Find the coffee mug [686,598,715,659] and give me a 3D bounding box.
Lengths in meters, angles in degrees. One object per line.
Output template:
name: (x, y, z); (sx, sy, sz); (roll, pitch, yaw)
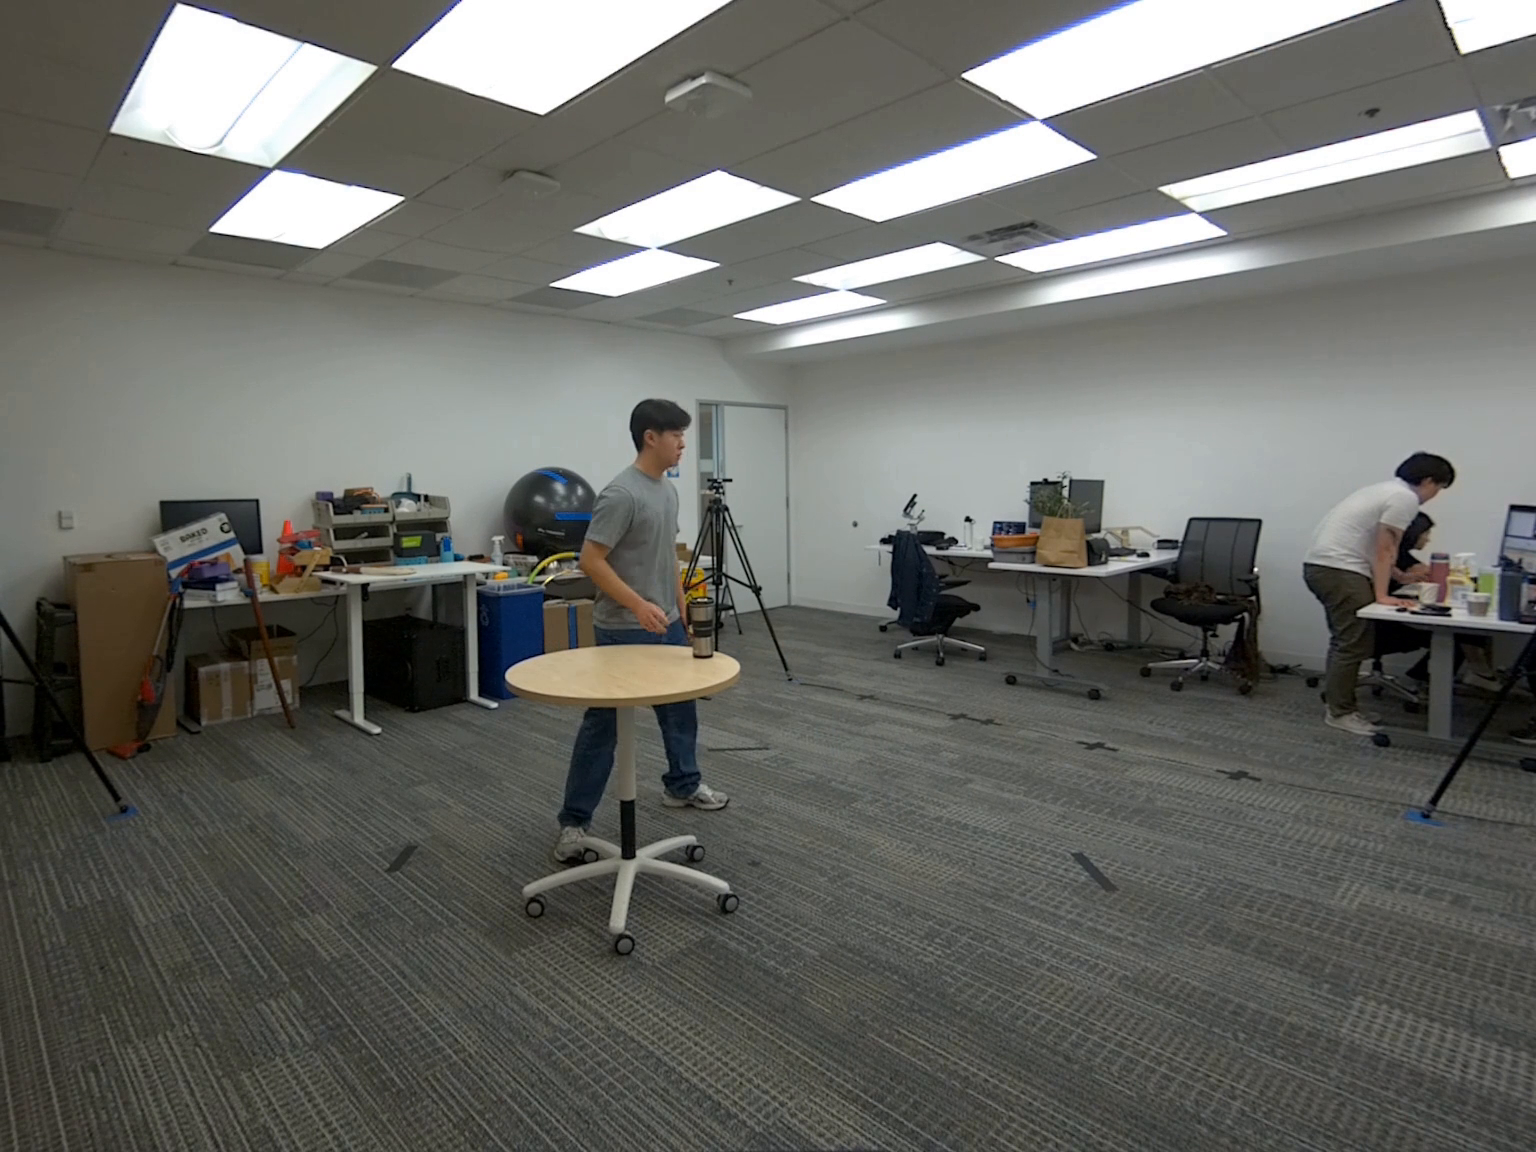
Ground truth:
coffee mug: (-0.231, 0.181, 2.985); (0.086, 0.201, 0.125); (-5, 8, -22)
